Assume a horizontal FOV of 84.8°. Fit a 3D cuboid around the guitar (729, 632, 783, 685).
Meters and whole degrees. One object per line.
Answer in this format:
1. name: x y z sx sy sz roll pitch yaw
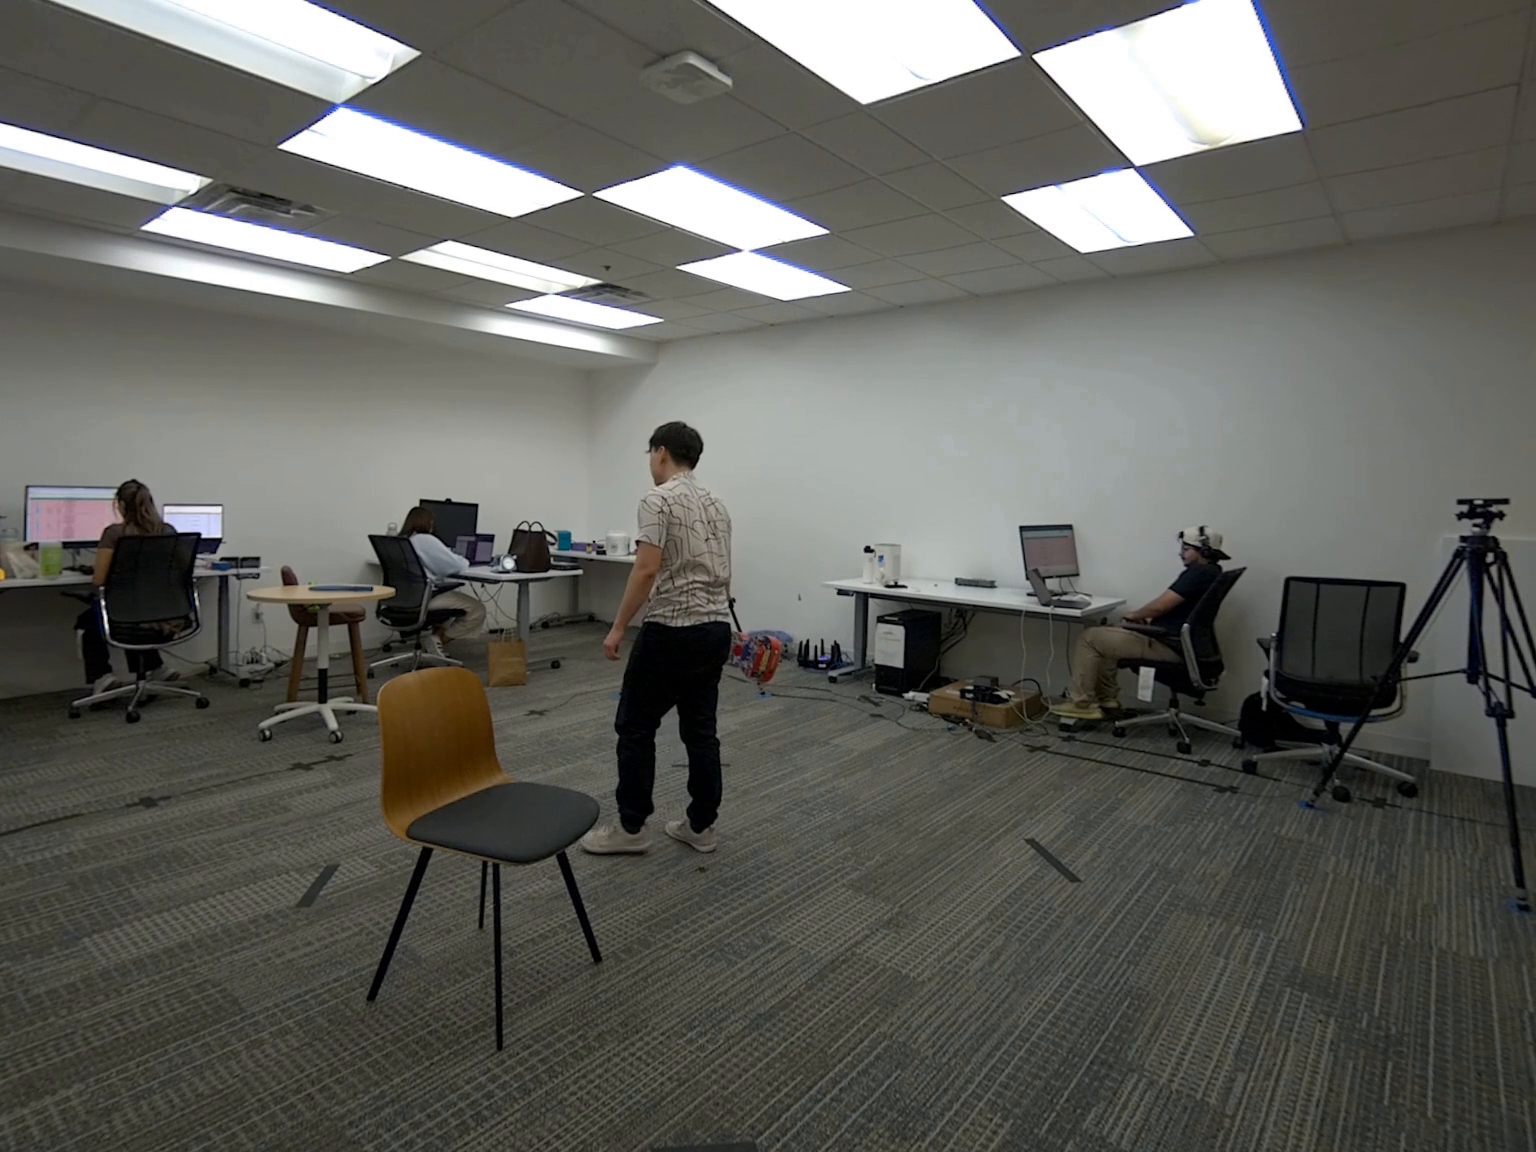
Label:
1. guitar: -0.167 0.274 3.619 0.519 0.193 0.068 26 5 42
